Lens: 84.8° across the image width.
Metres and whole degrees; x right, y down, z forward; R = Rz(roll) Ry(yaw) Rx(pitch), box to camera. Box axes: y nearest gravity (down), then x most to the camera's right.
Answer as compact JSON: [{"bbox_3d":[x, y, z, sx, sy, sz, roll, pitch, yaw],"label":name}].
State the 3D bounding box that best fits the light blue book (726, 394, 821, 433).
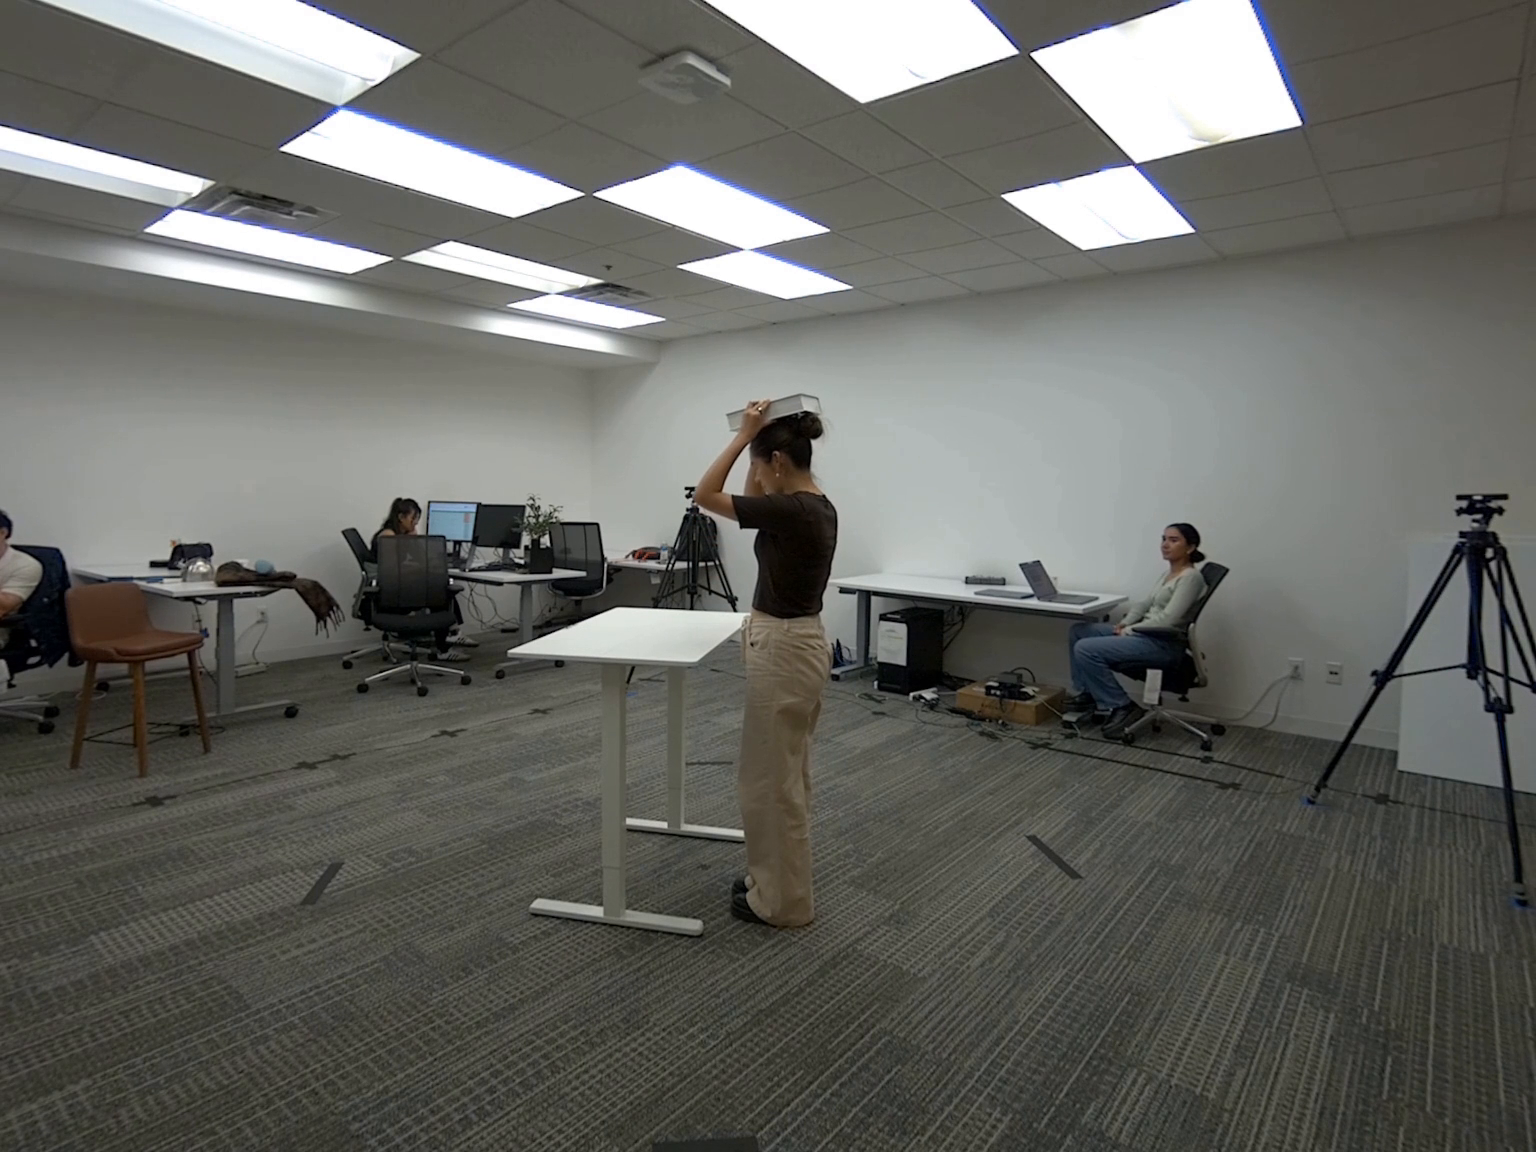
[{"bbox_3d":[0.012,-0.527,2.745,0.266,0.059,0.188,-11,3,22],"label":"light blue book"}]
